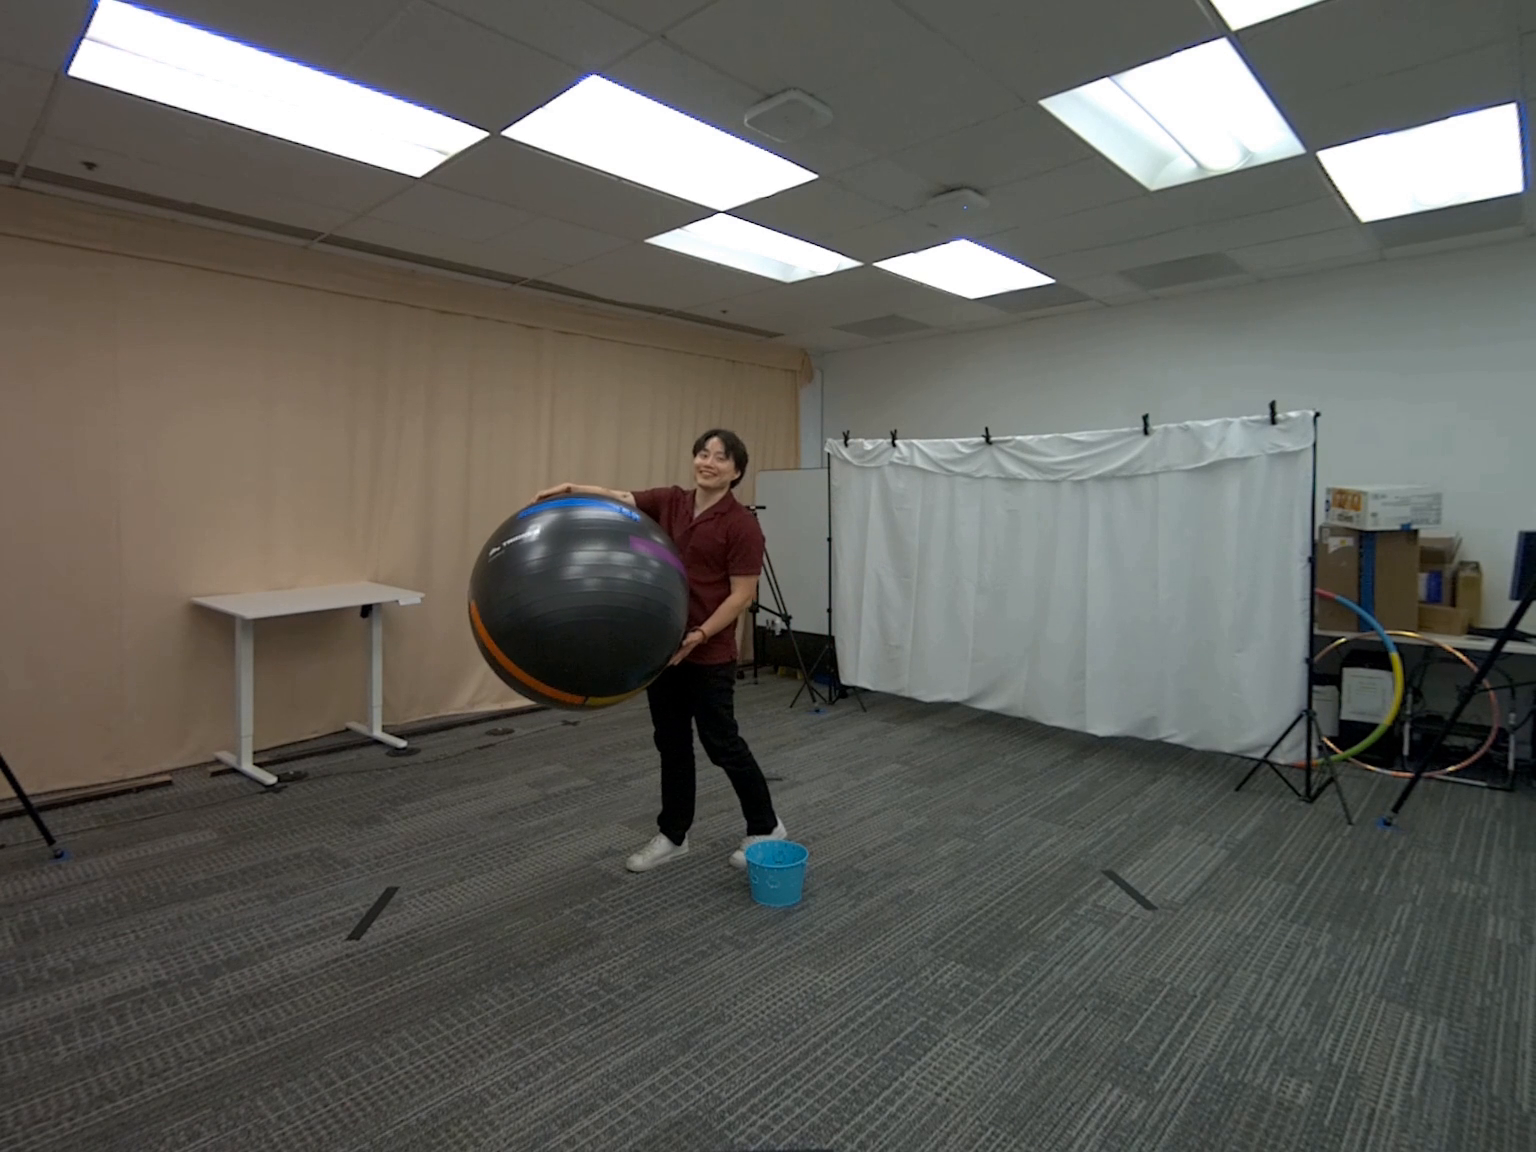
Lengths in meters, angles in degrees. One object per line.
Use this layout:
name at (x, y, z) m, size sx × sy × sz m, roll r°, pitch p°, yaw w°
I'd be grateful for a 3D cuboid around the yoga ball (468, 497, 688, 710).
yoga ball at (-0.666, 0.087, 2.948) m, size 0.757 × 0.756 × 0.761 m, roll 0°, pitch 4°, yaw -2°
